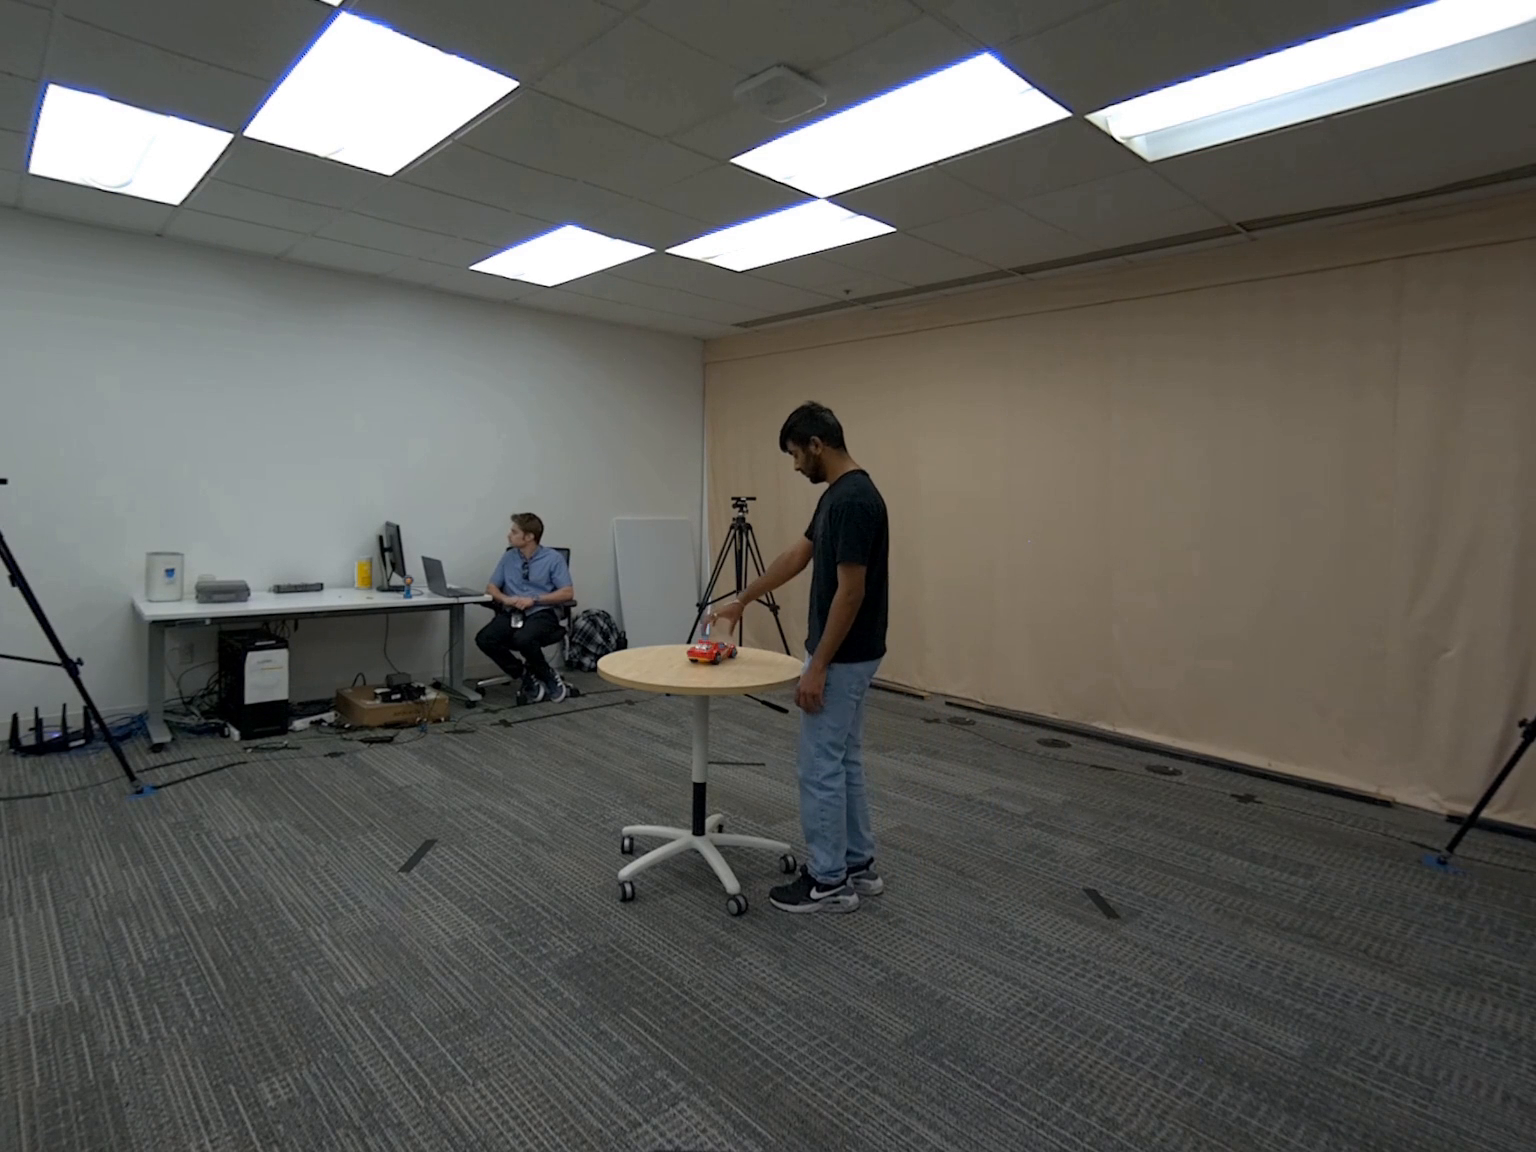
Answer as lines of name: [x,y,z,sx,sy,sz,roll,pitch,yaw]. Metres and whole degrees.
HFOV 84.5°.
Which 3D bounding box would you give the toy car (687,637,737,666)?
toy car: [-0.221,0.285,3.150,0.133,0.083,0.249,5,-5,23]
